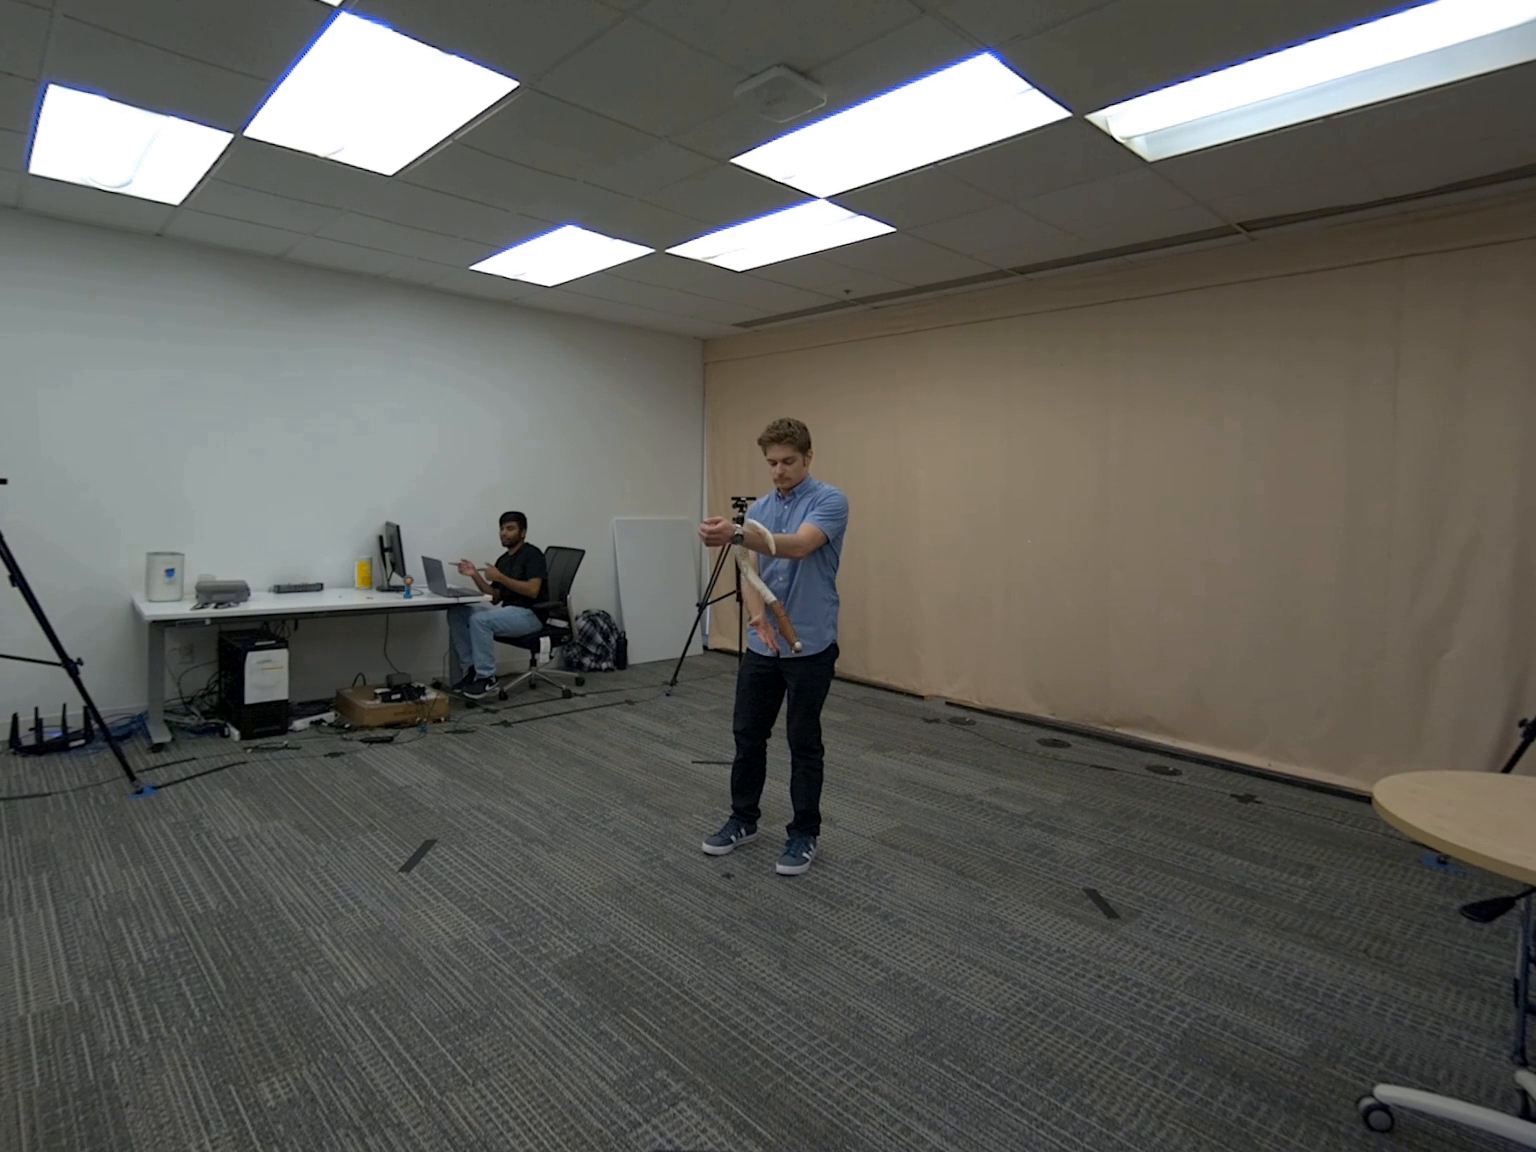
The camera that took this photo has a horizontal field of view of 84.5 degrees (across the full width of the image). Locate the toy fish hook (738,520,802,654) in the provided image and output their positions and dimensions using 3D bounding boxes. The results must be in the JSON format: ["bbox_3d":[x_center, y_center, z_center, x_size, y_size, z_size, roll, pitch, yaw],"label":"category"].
[{"bbox_3d":[-0.003,0.031,2.857,0.047,0.520,0.222,-7,-34,-27],"label":"toy fish hook"}]
